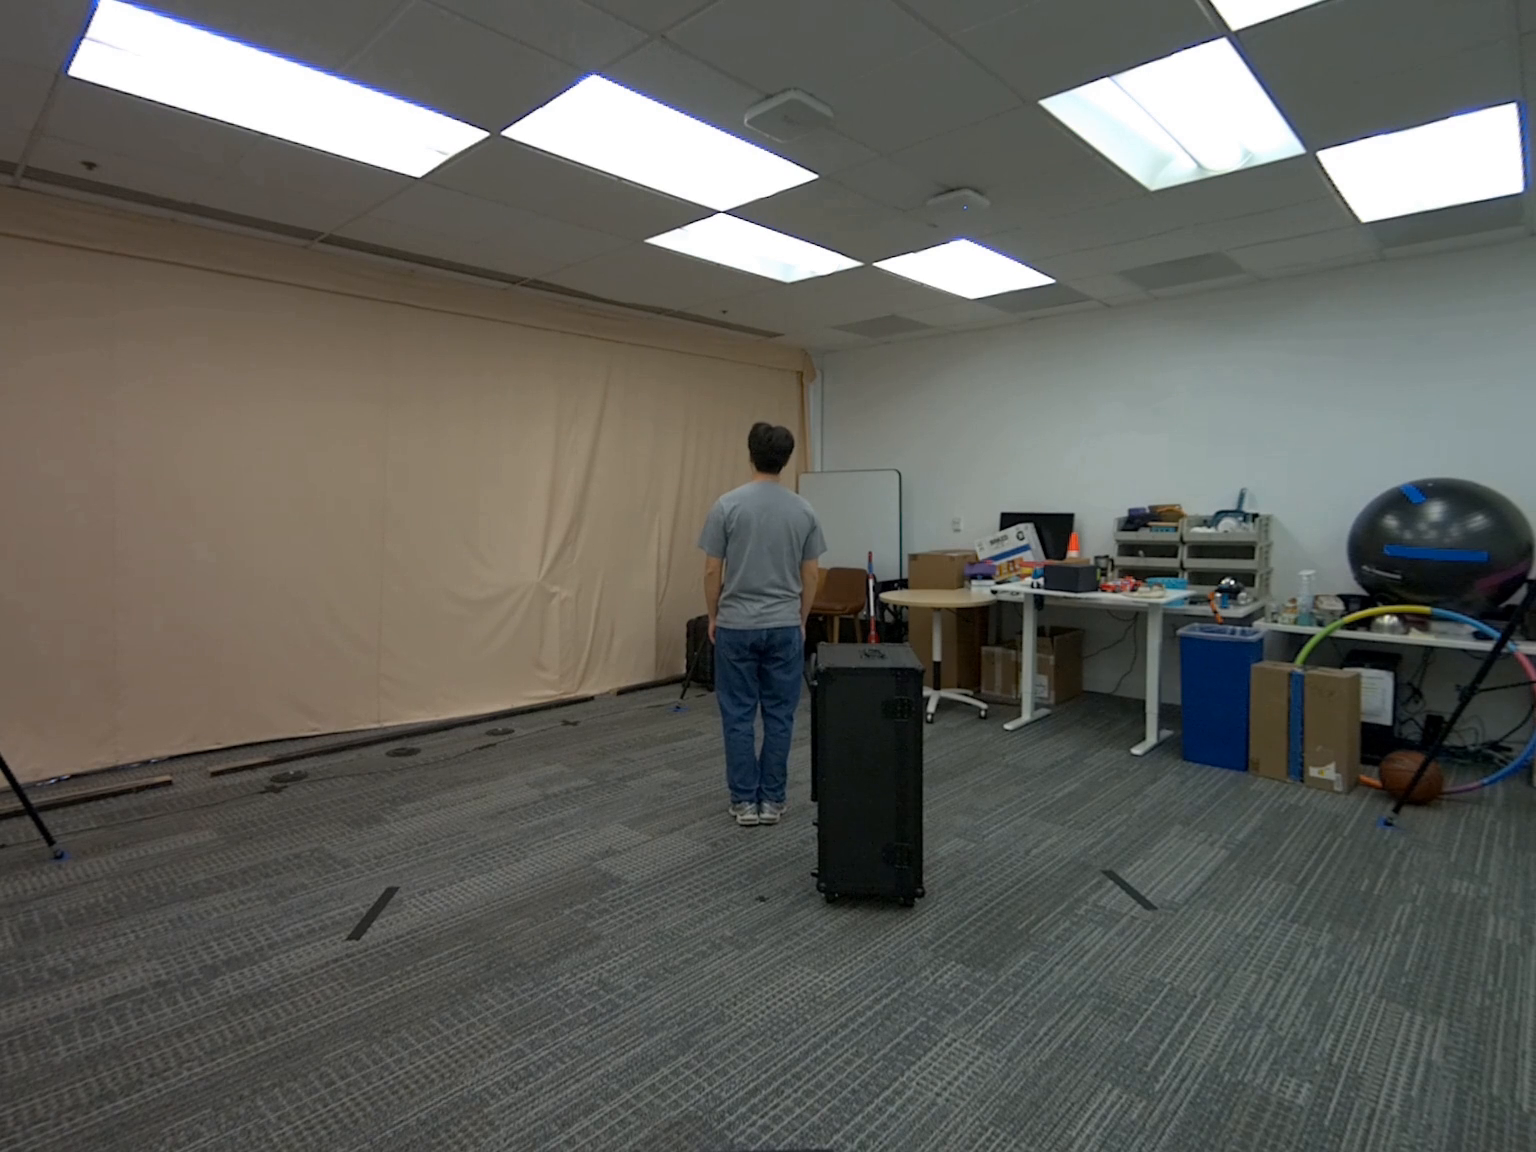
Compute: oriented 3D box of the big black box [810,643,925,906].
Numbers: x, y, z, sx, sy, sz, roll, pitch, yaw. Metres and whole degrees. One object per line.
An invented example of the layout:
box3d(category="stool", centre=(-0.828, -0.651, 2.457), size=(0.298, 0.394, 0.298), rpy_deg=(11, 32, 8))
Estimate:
box3d(category="big black box", centre=(0.361, 0.708, 3.070), size=(0.399, 0.859, 0.519), rpy_deg=(-1, 4, 6))
